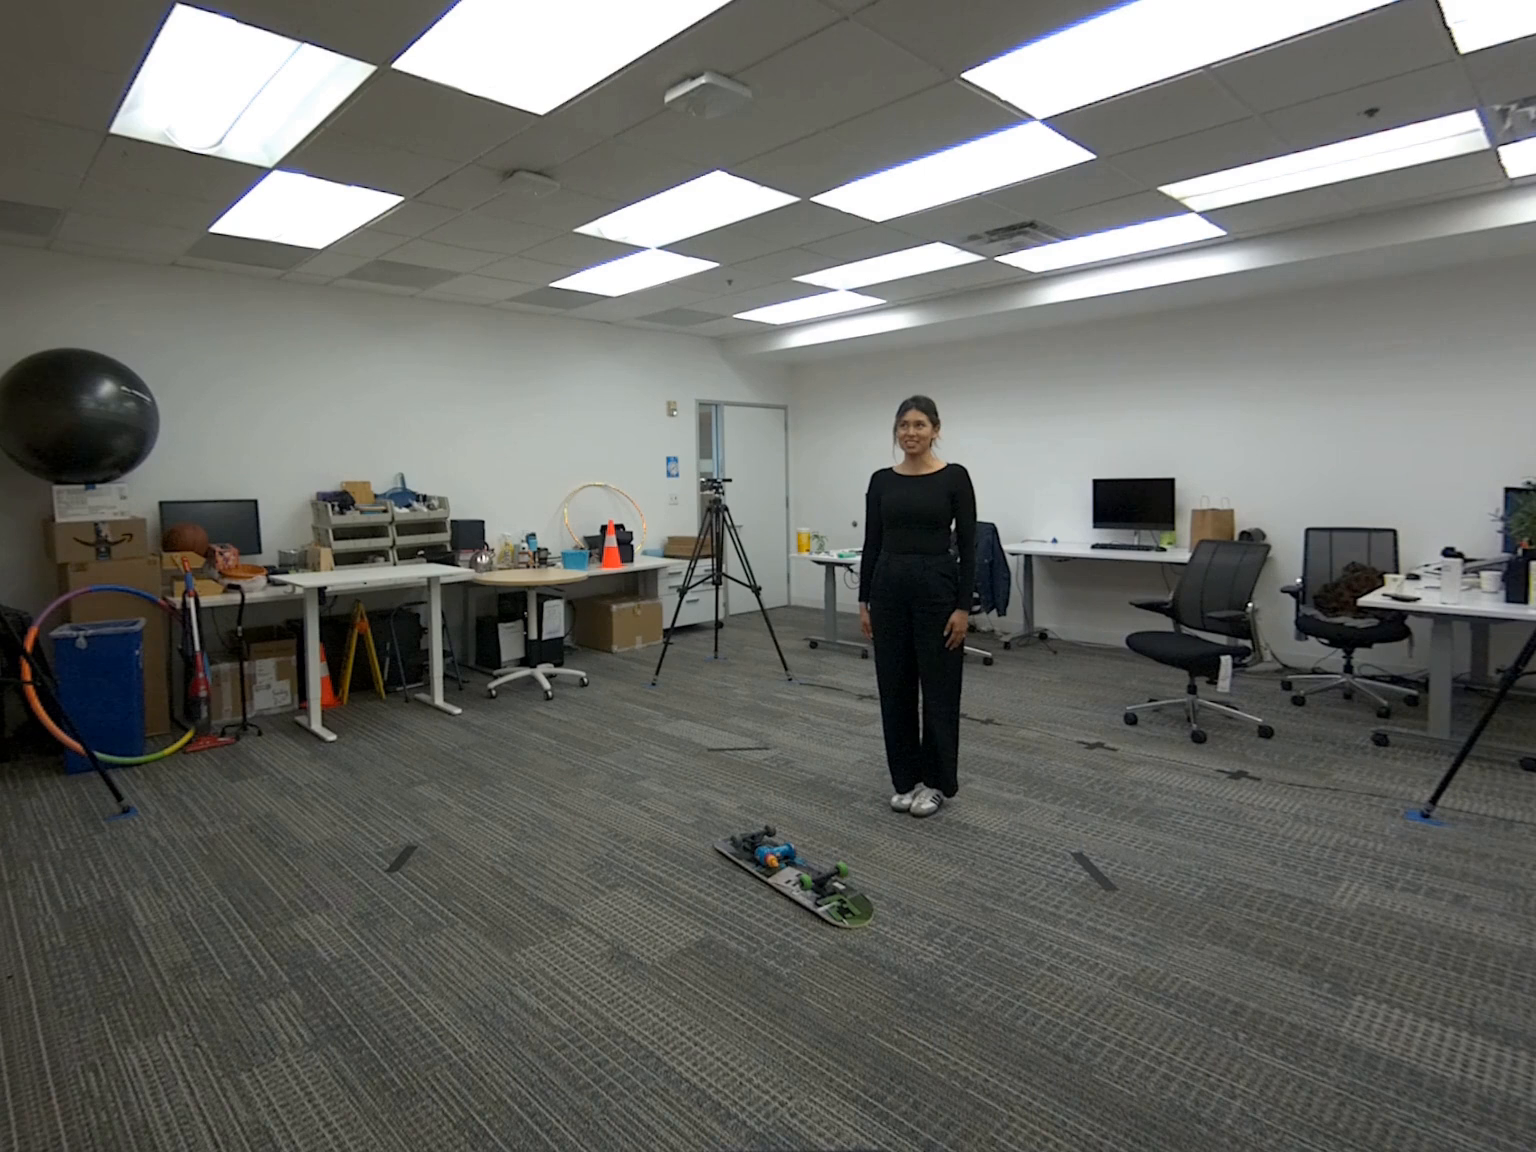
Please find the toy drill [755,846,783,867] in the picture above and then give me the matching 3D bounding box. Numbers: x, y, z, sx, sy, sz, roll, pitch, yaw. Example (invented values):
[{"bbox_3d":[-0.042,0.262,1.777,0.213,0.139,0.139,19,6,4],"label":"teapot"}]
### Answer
[{"bbox_3d":[0.035,0.990,3.019,0.143,0.061,0.173,-2,0,-22],"label":"toy drill"}]
